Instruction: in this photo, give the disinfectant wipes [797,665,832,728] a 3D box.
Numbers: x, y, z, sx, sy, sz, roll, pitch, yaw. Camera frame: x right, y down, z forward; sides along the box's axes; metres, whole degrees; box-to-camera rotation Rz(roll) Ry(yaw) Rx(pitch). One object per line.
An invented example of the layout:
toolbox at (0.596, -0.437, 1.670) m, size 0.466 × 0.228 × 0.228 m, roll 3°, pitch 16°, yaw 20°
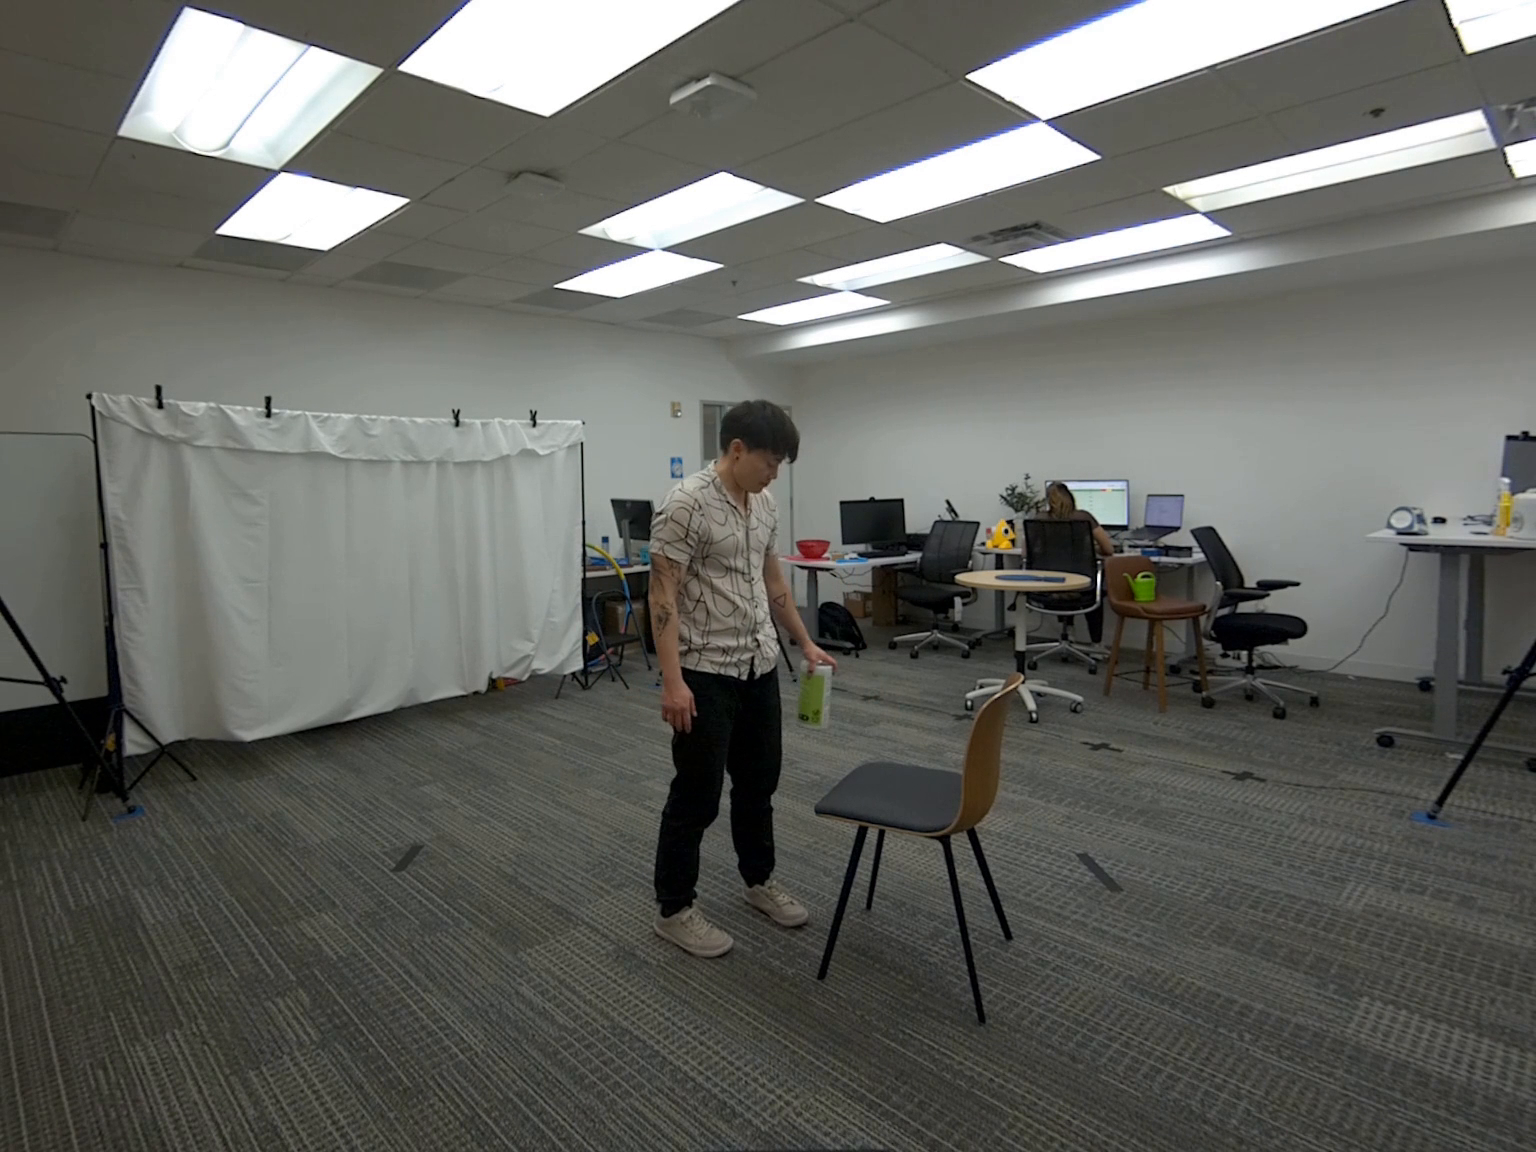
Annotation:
disinfectant wipes at (0.153, 0.403, 2.866) m, size 0.118 × 0.216 × 0.118 m, roll 1°, pitch 5°, yaw -2°
